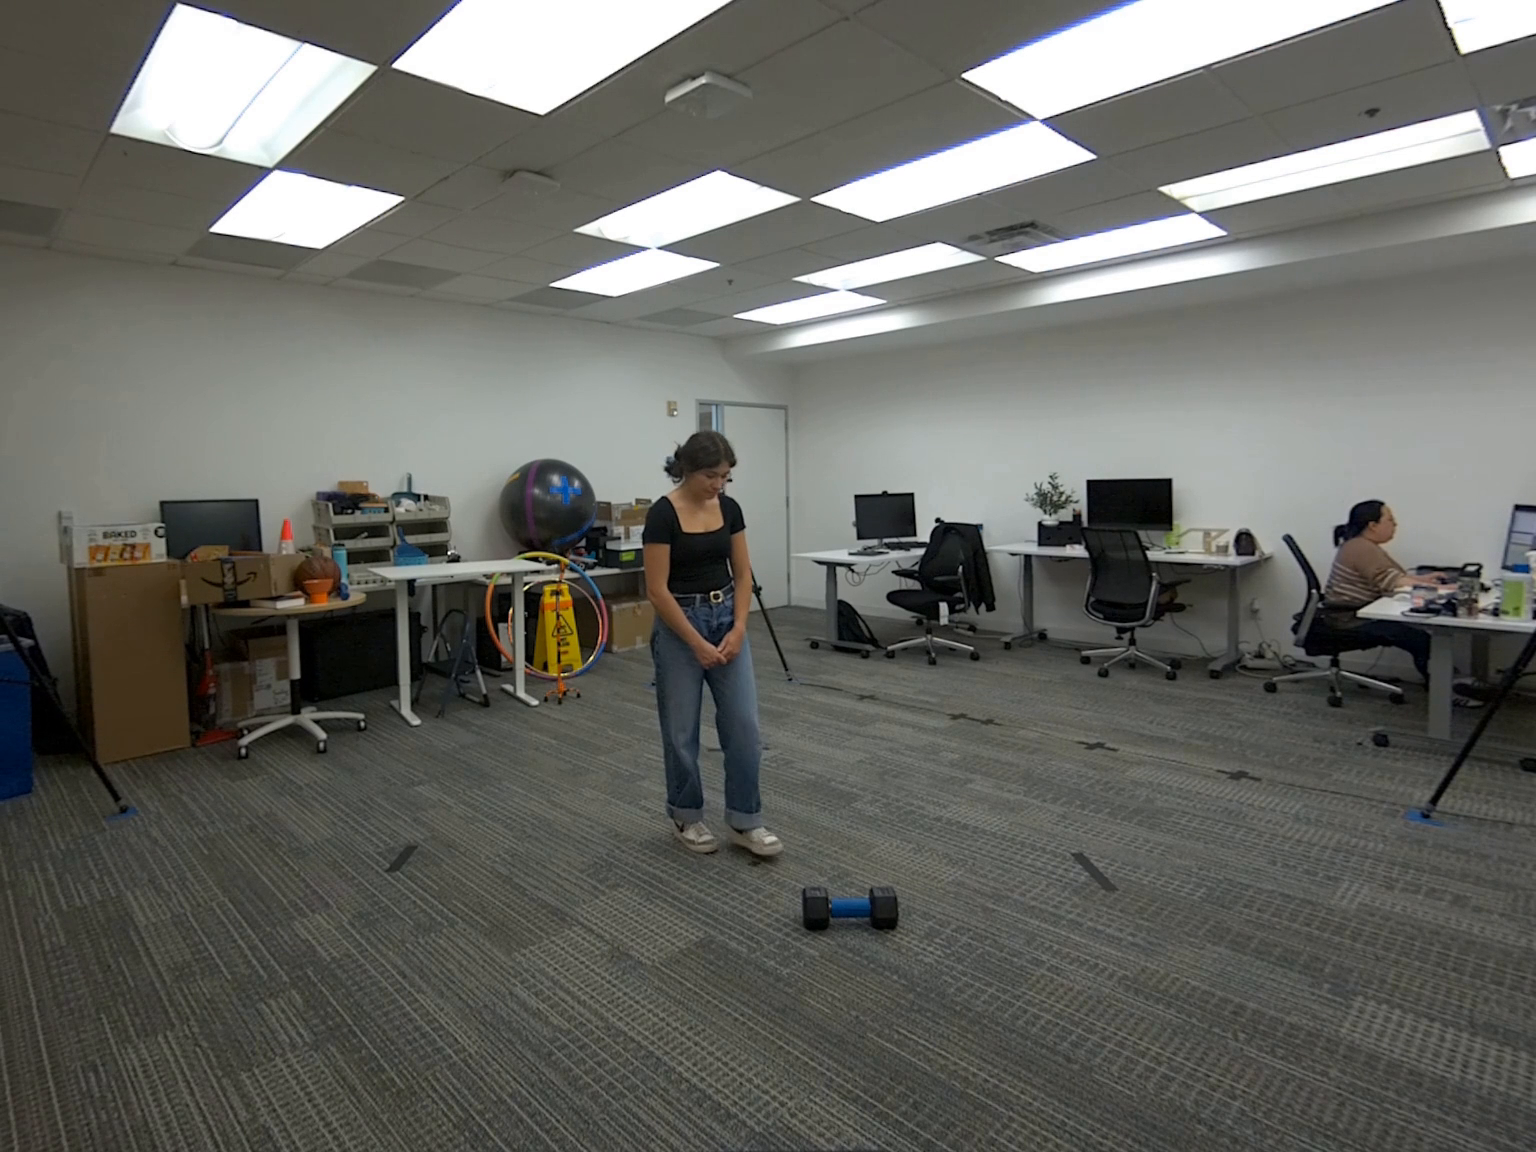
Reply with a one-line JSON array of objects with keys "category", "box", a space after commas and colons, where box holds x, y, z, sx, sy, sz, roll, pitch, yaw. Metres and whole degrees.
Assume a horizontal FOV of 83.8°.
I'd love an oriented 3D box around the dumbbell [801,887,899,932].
[{"category": "dumbbell", "box": [0.259, 1.038, 2.666, 0.294, 0.126, 0.106, -1, -26, 1]}]
